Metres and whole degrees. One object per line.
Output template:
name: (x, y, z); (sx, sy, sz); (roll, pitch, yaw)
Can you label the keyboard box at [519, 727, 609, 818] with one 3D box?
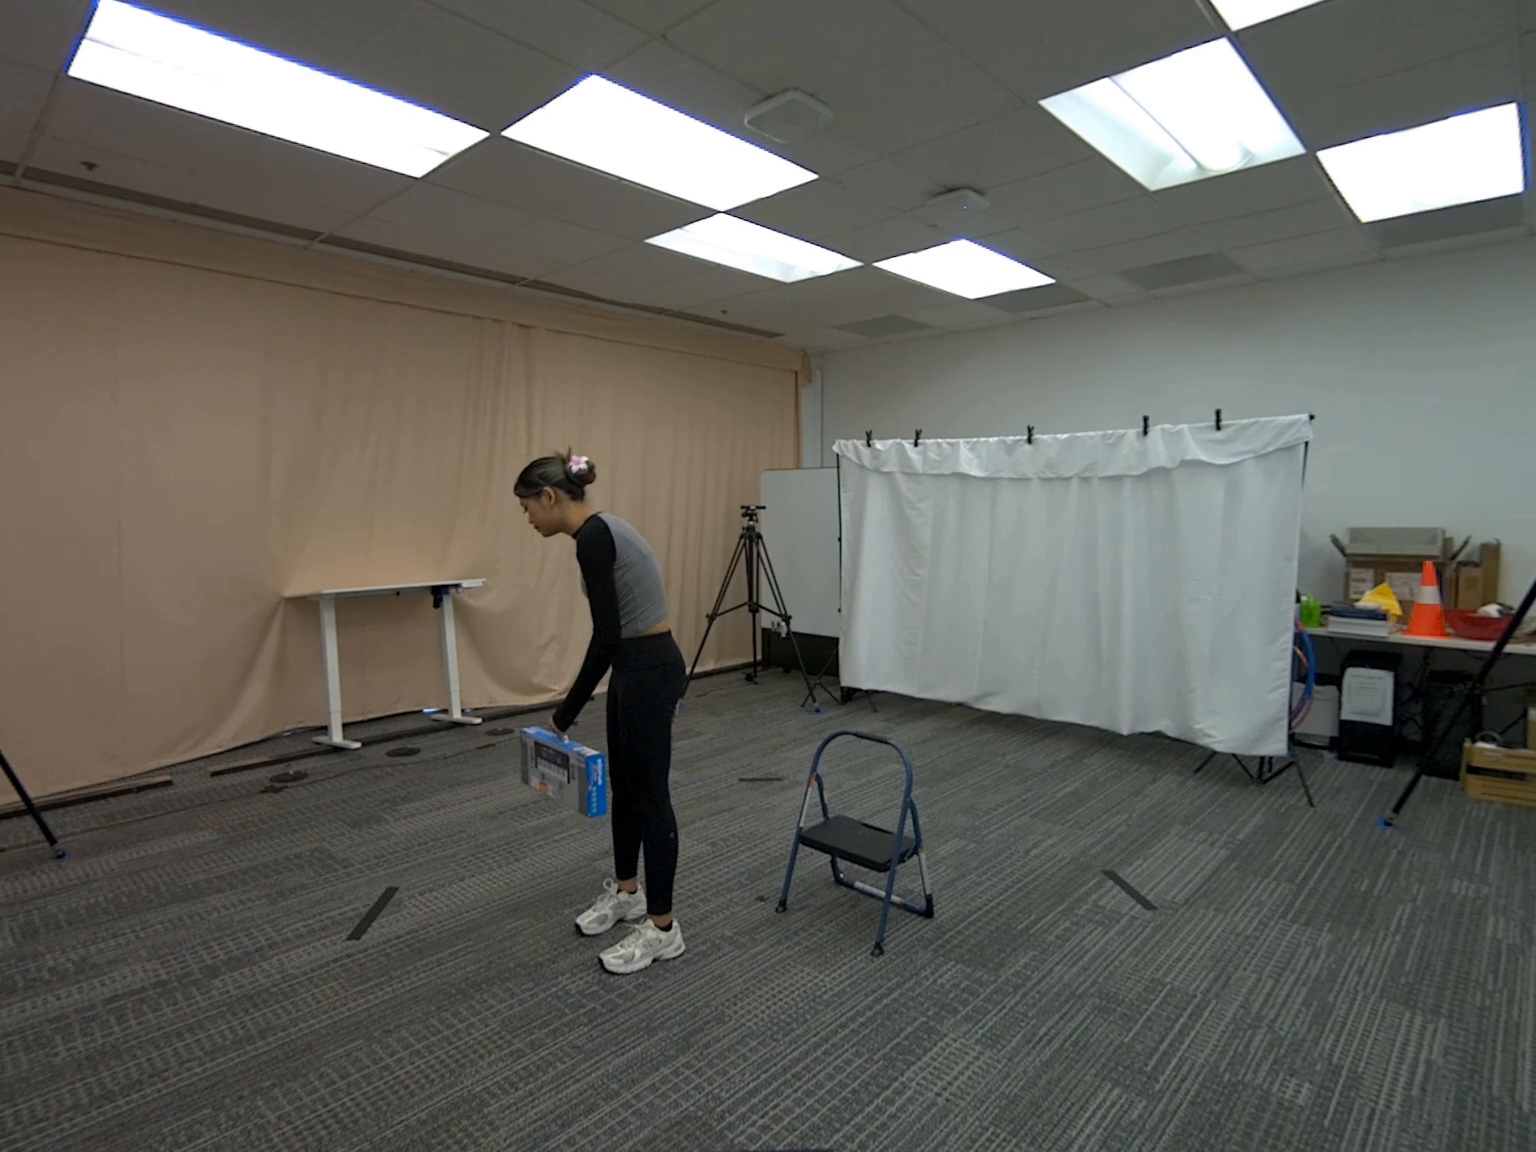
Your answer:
keyboard box: (-0.613, 0.584, 2.510); (0.057, 0.176, 0.451); (-2, 2, -42)
